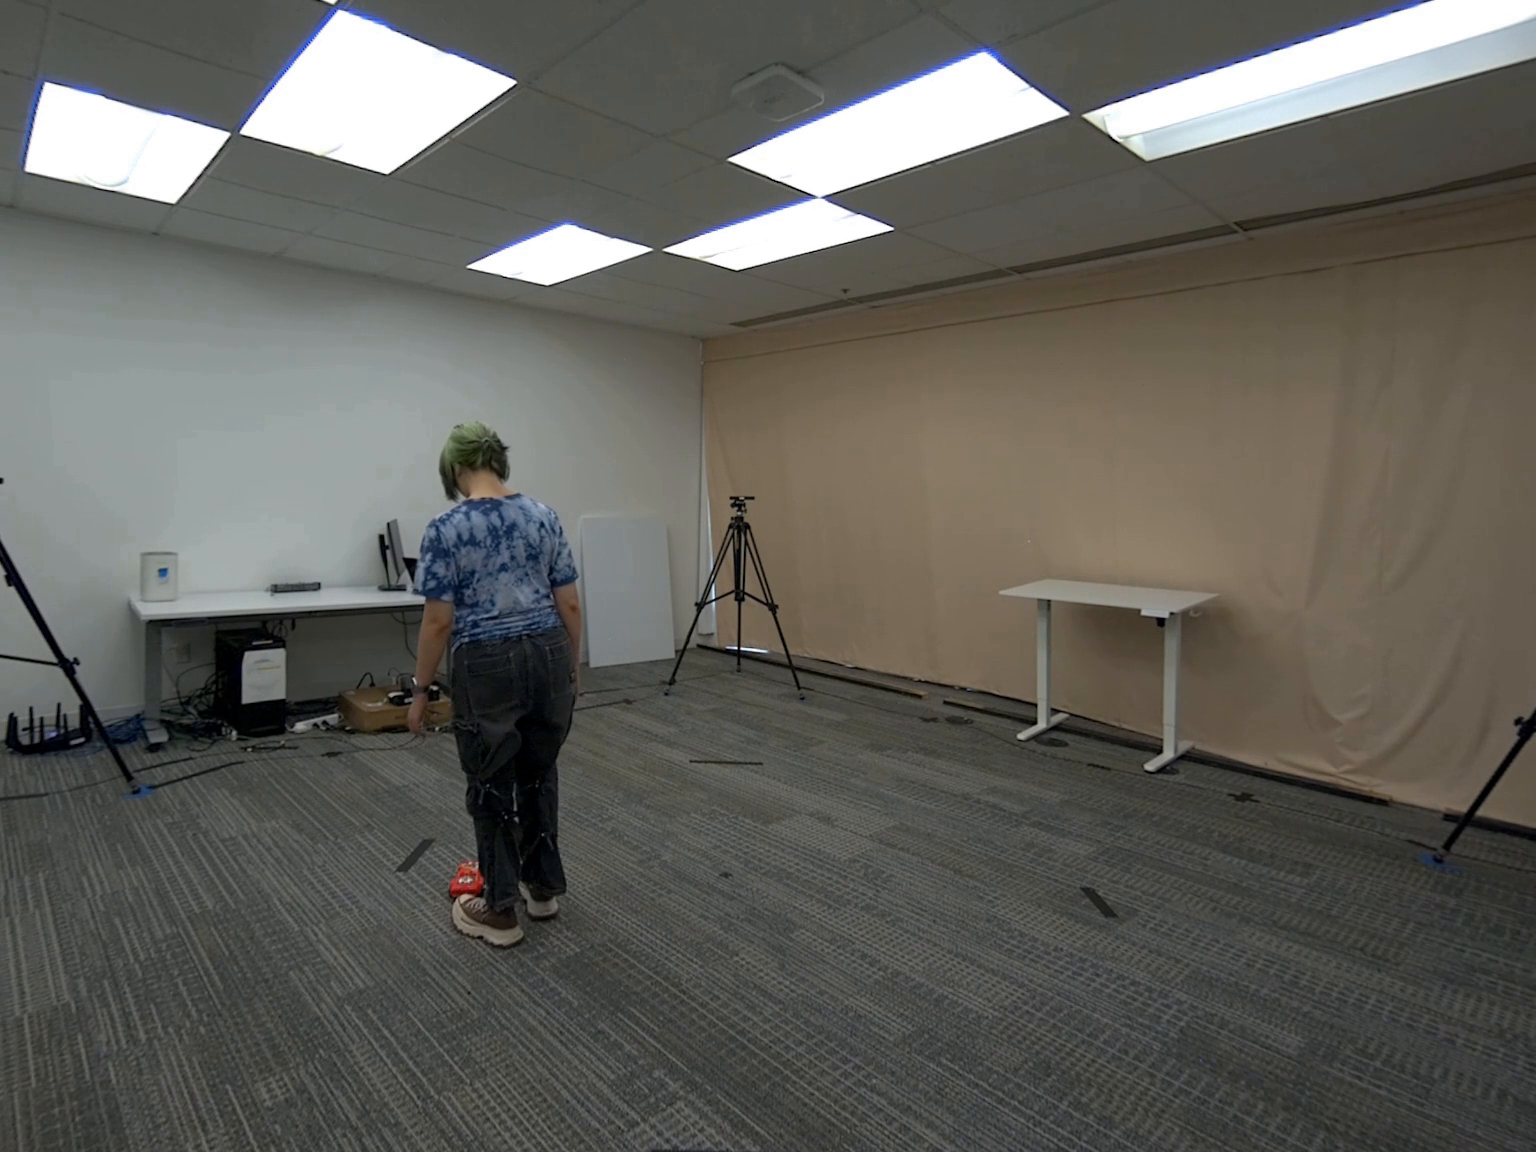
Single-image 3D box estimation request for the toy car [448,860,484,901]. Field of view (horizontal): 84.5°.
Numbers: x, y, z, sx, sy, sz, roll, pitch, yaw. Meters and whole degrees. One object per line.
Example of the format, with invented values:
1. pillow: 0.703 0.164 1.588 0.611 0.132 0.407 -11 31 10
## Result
1. toy car: -1.049 1.064 2.947 0.130 0.083 0.254 2 -5 -6
